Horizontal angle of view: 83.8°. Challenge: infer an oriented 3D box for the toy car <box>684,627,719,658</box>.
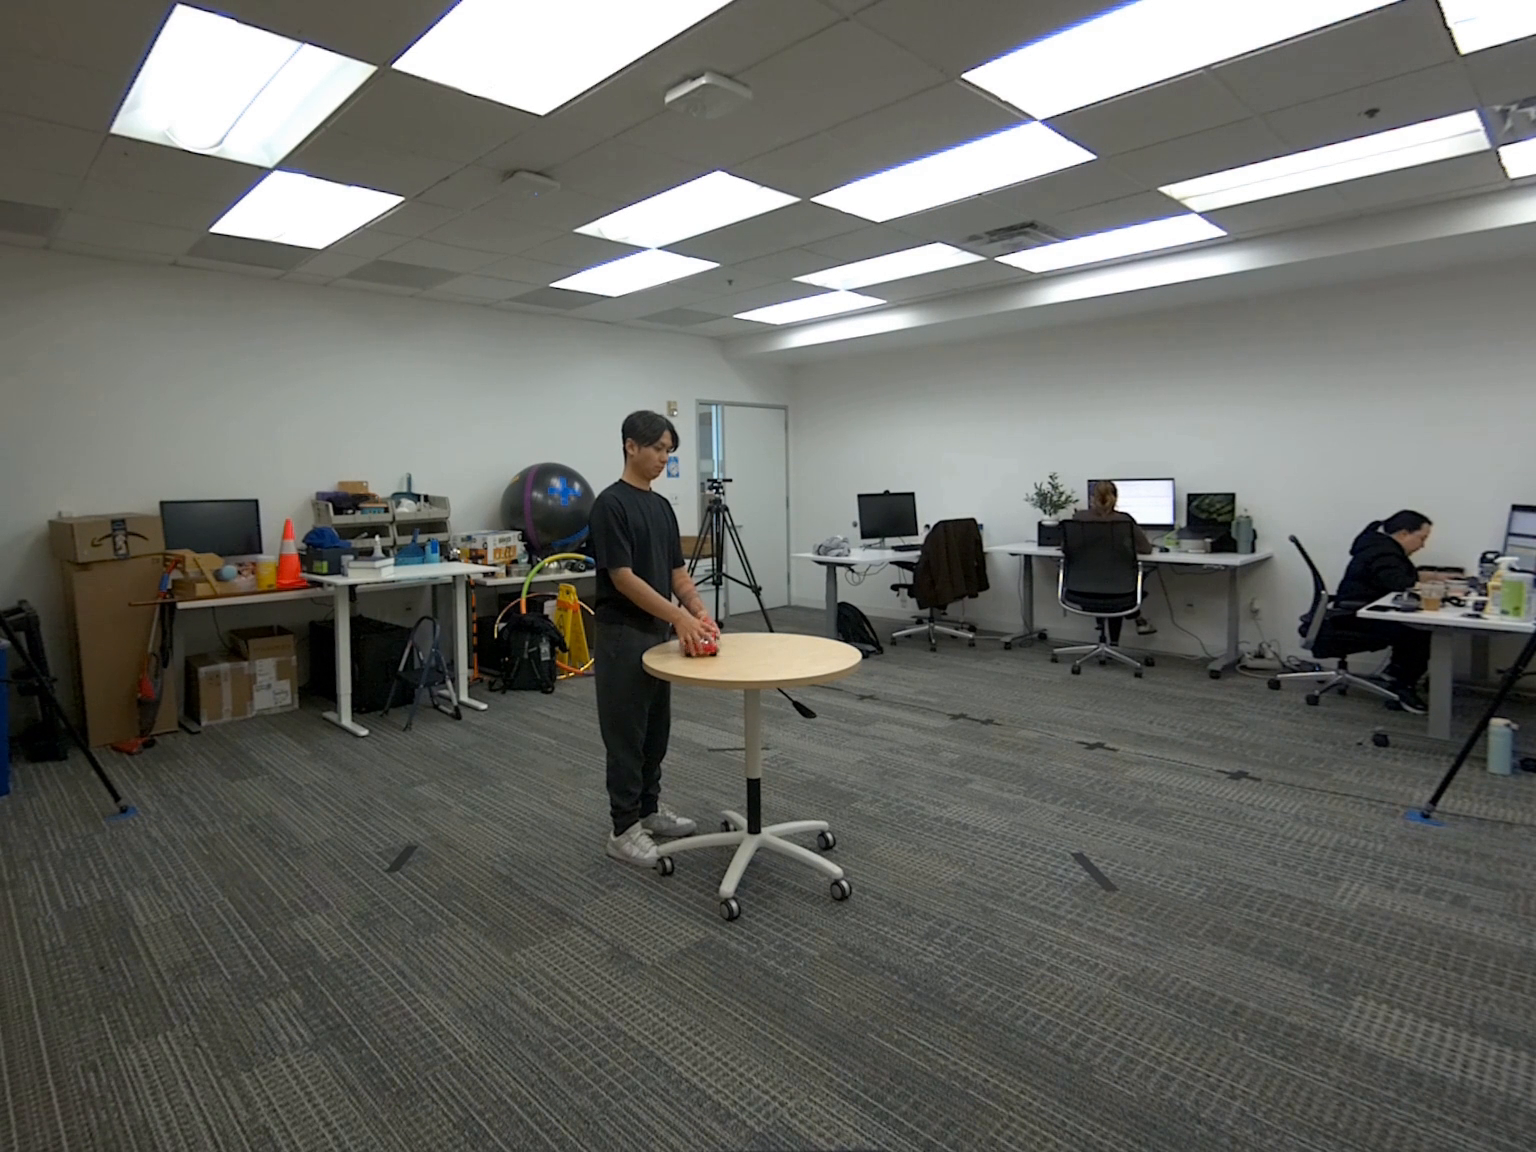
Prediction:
[{"bbox_3d":[-0.239,0.225,3.080,0.130,0.081,0.260,-1,24,-1],"label":"toy car"}]
